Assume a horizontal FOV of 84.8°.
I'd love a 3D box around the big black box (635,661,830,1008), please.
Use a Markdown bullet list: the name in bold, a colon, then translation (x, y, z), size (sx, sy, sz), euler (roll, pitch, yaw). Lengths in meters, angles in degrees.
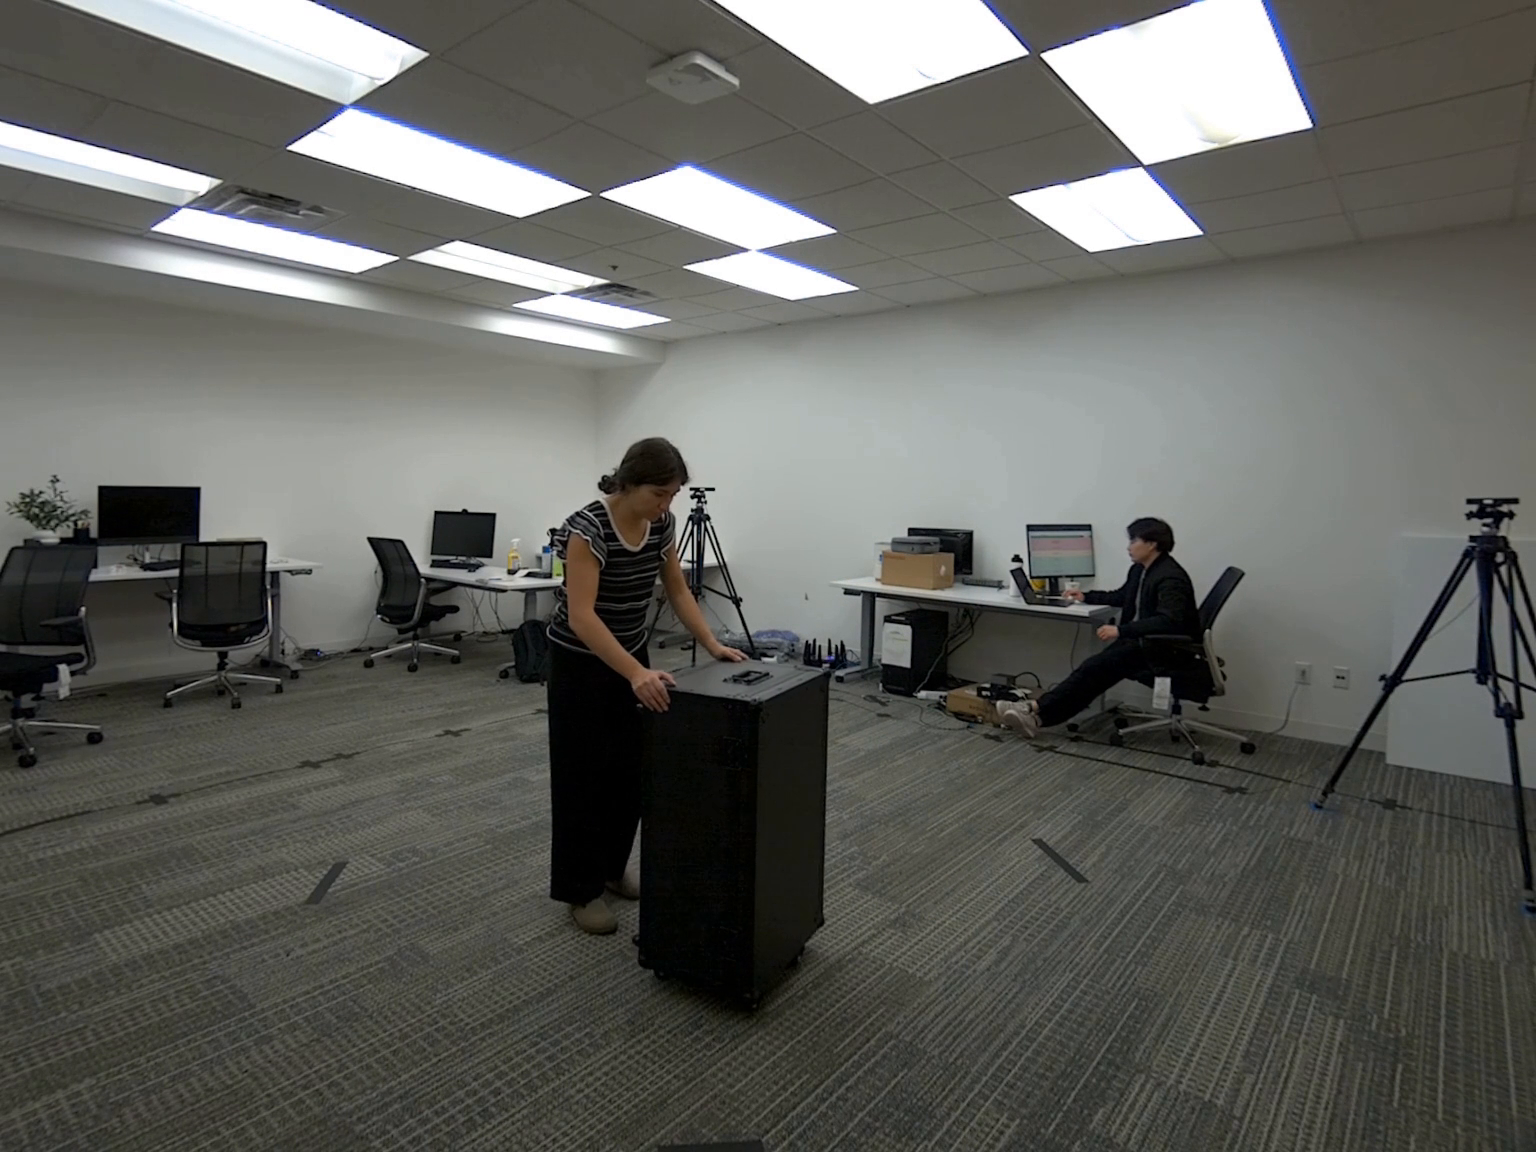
- **big black box**: translation (-0.102, 0.710, 2.441), size (0.407, 0.860, 0.508), euler (2, 3, 27)
